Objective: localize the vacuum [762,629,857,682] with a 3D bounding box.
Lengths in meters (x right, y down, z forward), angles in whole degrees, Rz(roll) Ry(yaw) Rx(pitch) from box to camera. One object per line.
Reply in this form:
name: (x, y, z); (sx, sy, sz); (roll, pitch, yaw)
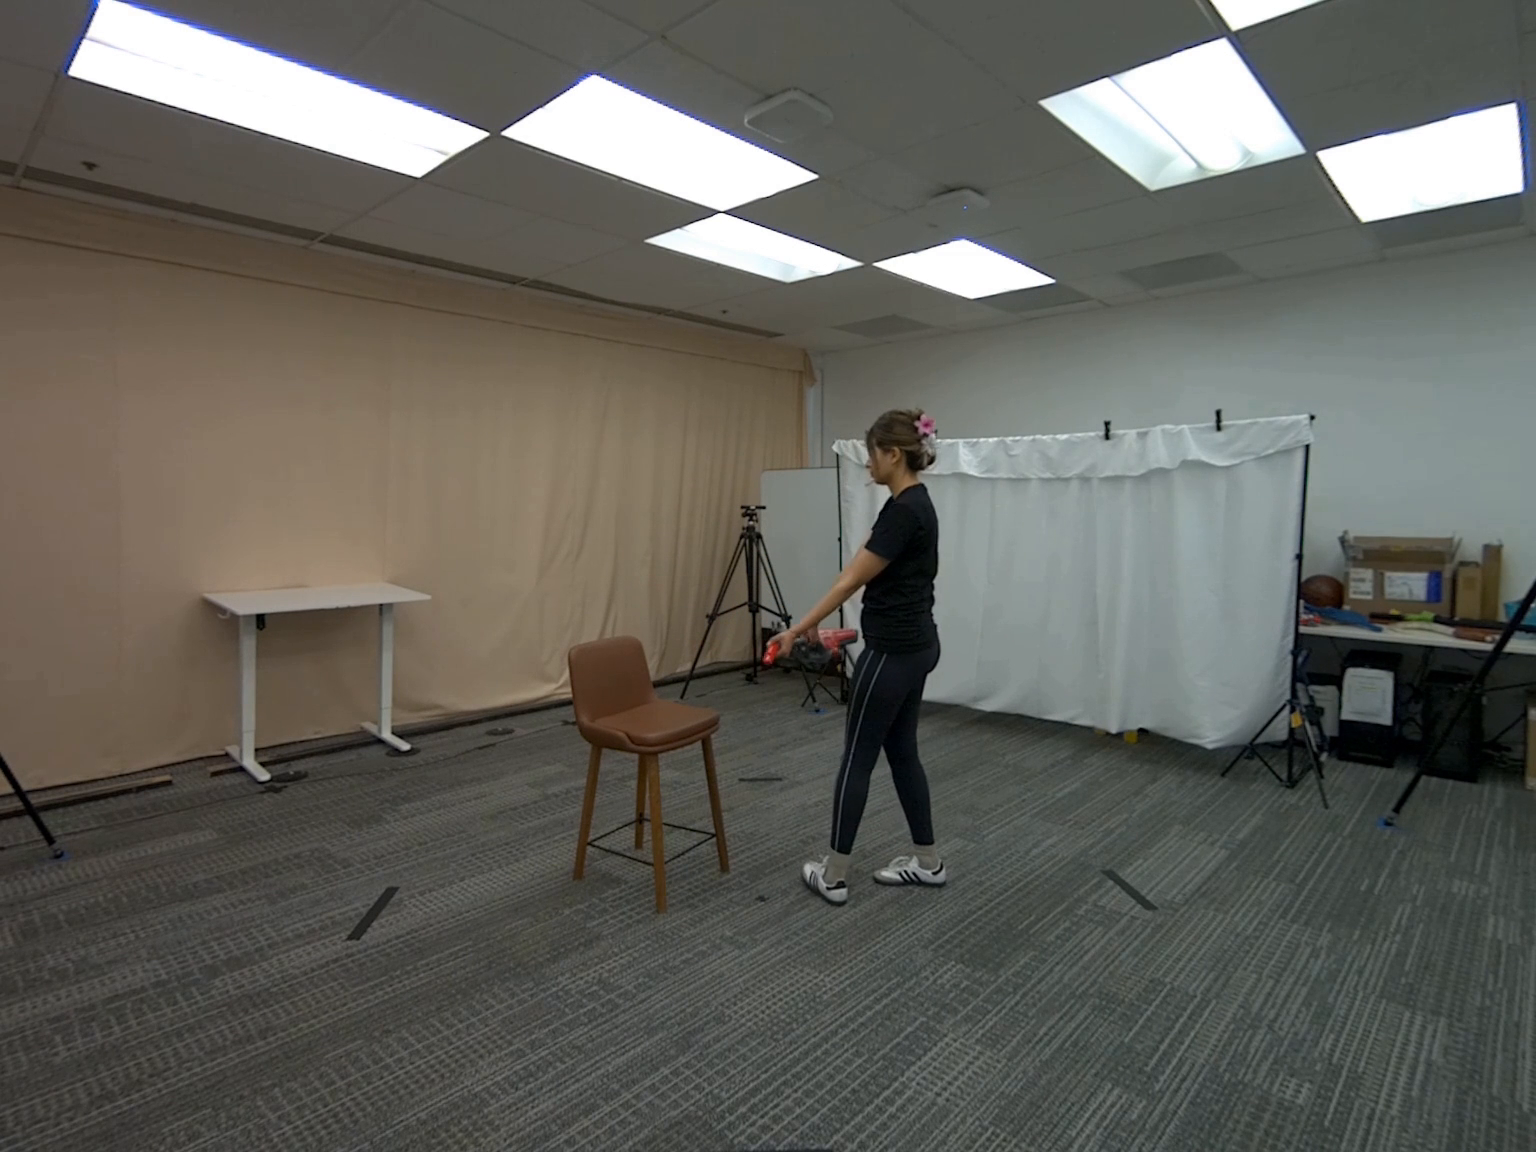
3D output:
vacuum: (0.135, 0.297, 3.224); (0.256, 0.144, 1.030); (-9, -4, 14)
